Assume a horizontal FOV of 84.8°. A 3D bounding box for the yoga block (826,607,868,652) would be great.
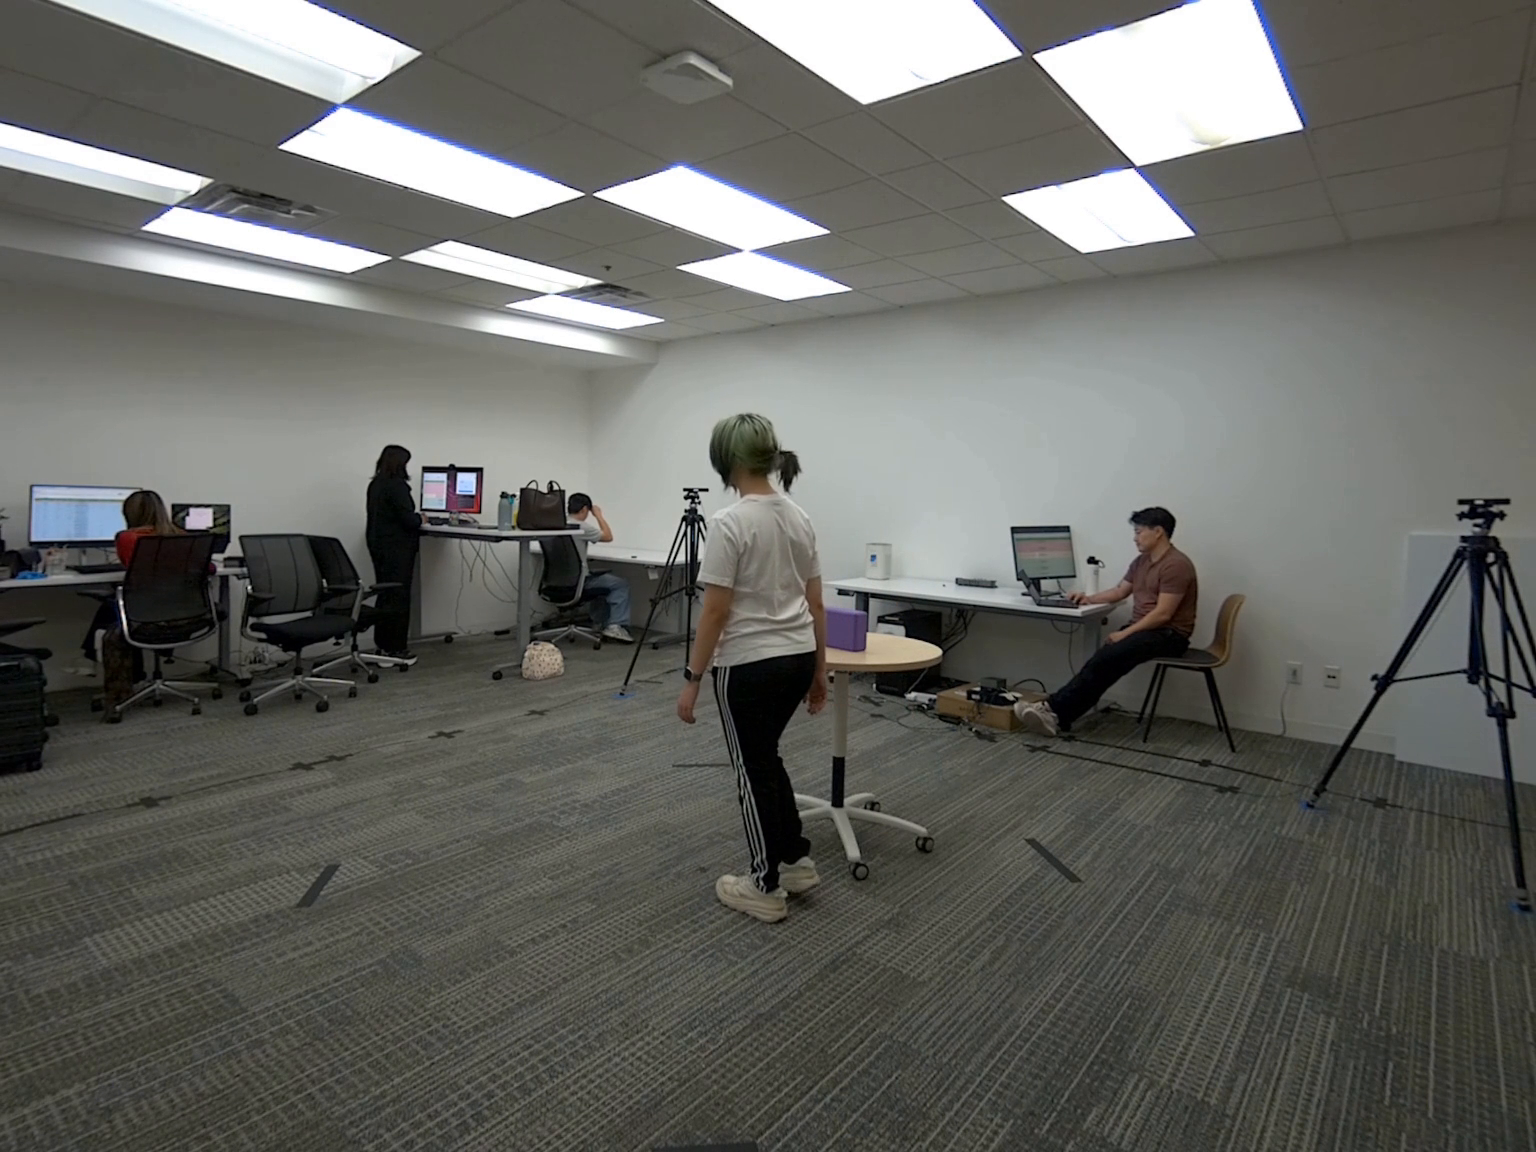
[{"bbox_3d":[0.273,0.199,3.314,0.074,0.148,0.237,0,4,-43],"label":"yoga block"}]
